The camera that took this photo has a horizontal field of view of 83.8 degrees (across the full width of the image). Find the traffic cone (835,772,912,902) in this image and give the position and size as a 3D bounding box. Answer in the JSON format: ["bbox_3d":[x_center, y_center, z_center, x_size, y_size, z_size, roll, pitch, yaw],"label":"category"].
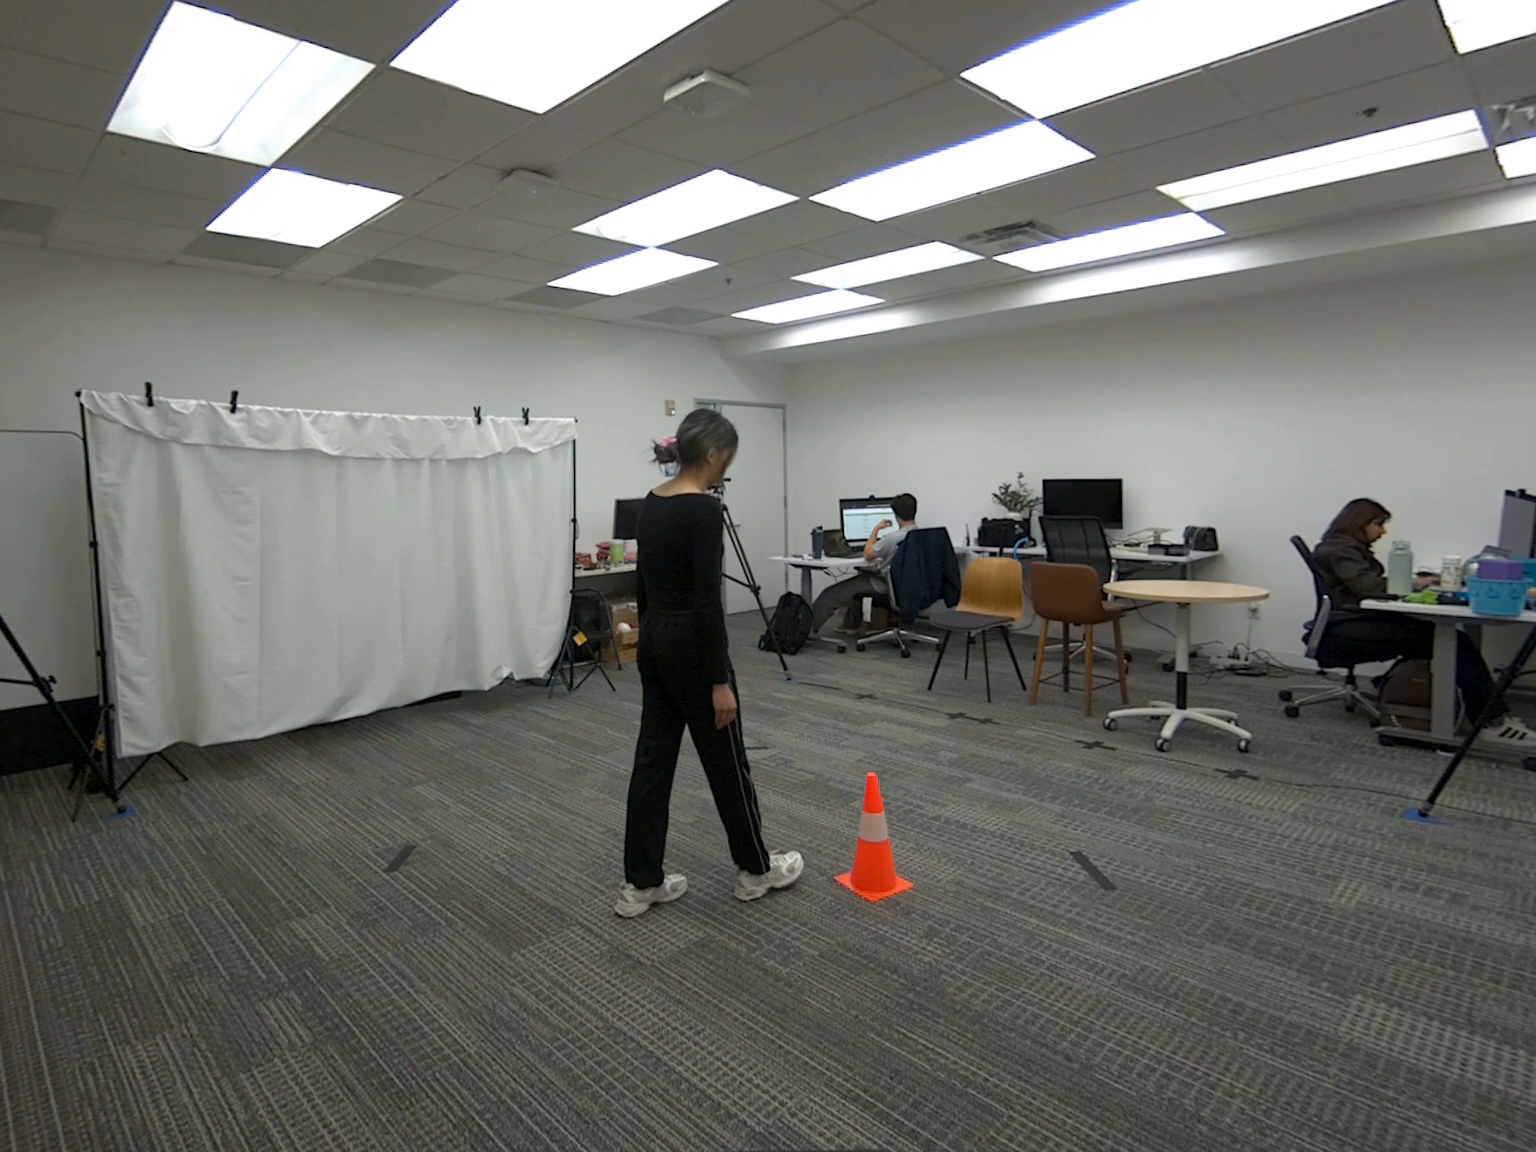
[{"bbox_3d":[0.364,0.868,2.930,0.198,0.382,0.211,-4,4,-34],"label":"traffic cone"}]
